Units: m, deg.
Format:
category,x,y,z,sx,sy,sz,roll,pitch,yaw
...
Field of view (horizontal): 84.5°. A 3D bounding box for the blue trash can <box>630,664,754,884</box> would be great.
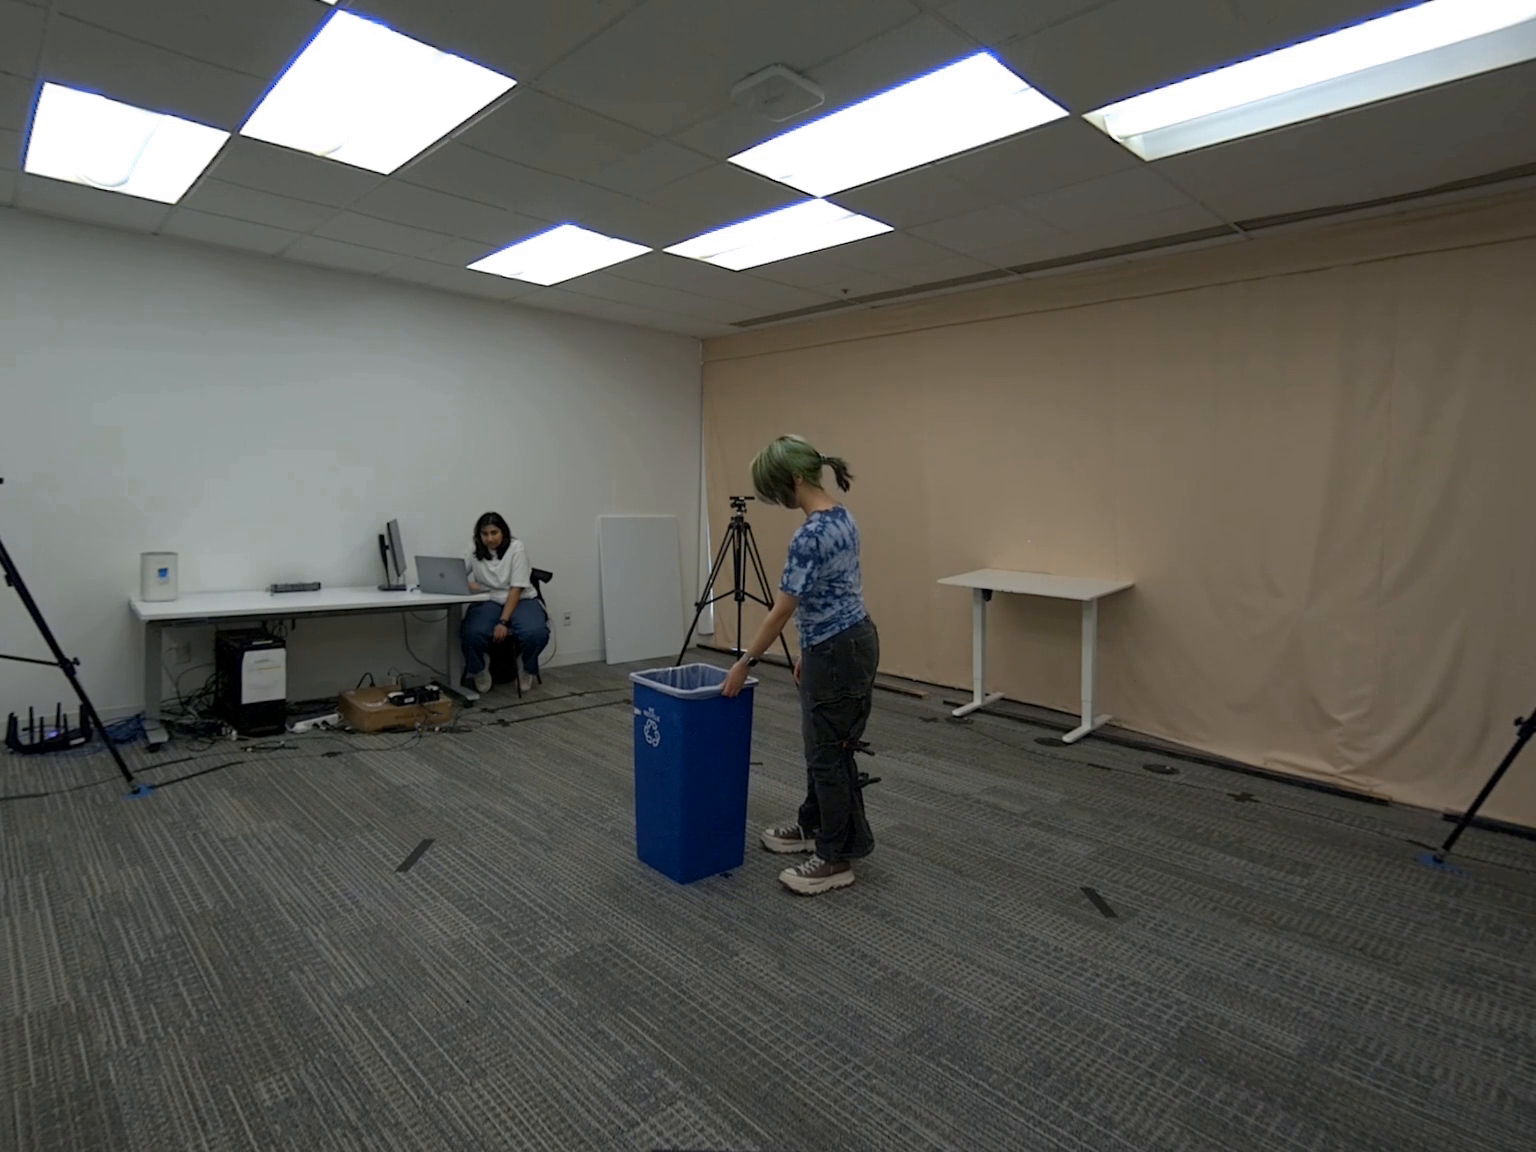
category,x,y,z,sx,sy,sz,roll,pitch,yaw
blue trash can,-0.285,0.732,3.193,0.369,0.711,0.383,-2,5,-41
